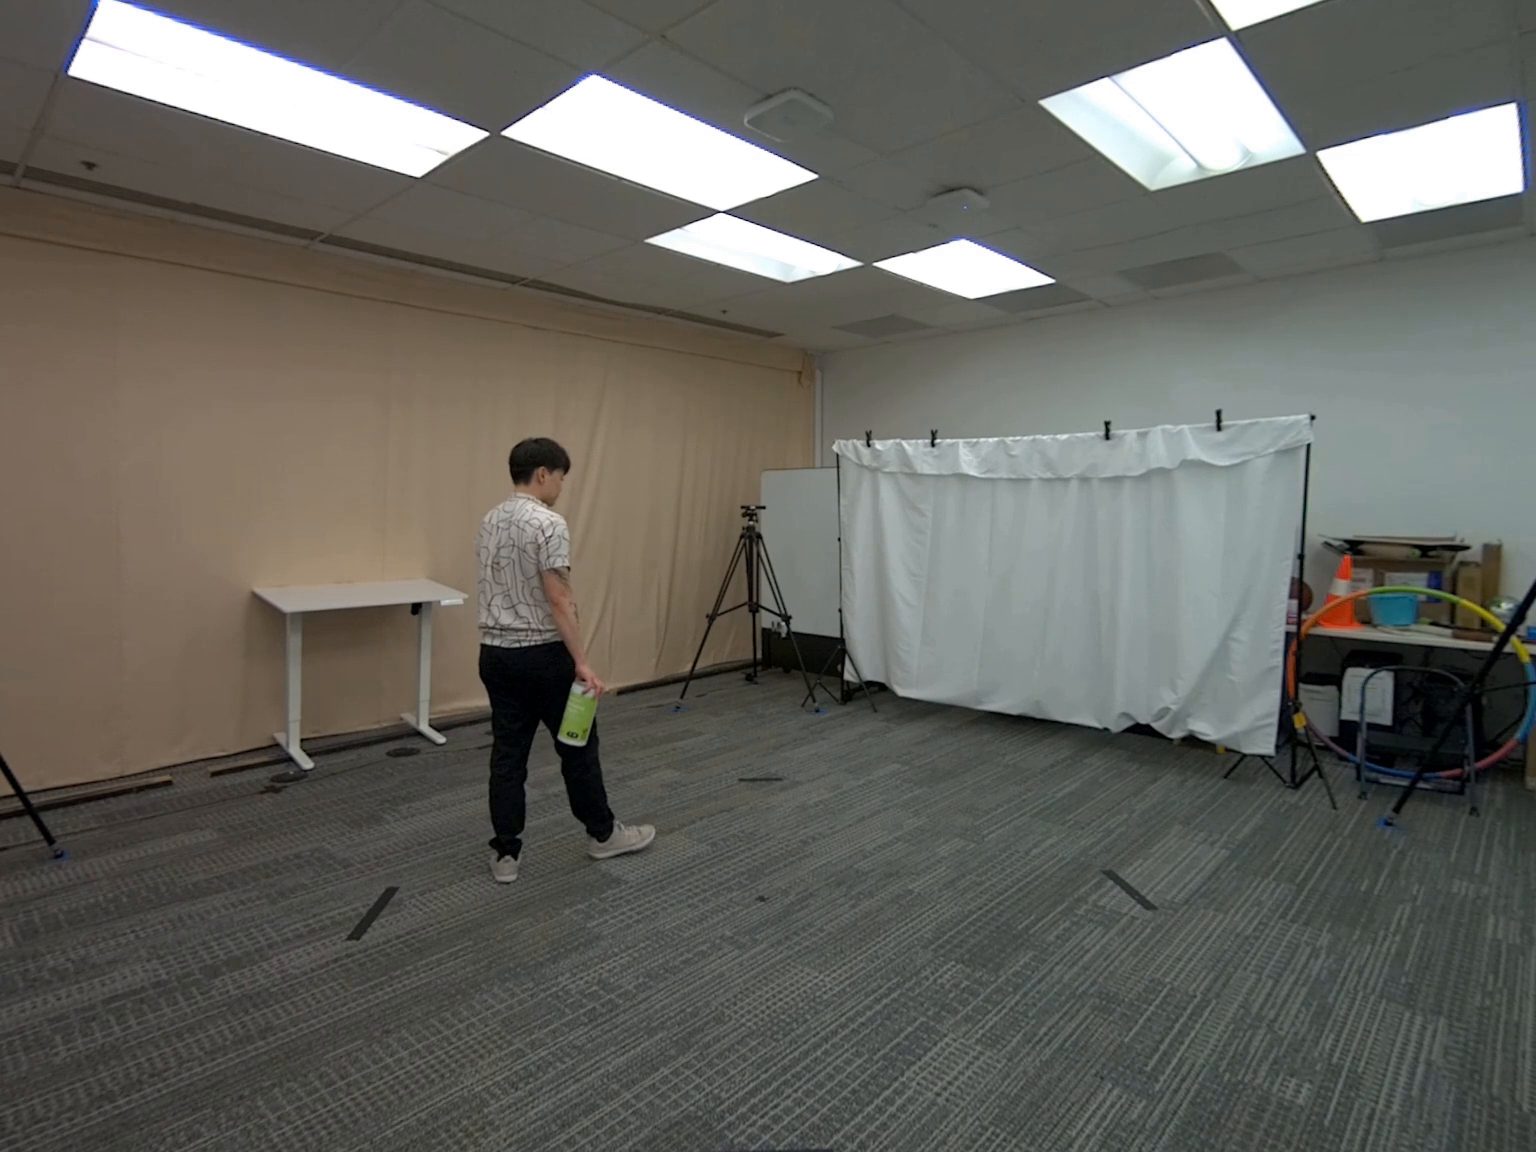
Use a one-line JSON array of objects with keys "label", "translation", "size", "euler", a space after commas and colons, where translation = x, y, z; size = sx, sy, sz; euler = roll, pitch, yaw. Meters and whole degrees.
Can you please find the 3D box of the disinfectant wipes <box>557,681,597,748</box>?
[{"label": "disinfectant wipes", "translation": [-0.688, 0.509, 3.097], "size": [0.117, 0.217, 0.118], "euler": [12, 0, -2]}]
